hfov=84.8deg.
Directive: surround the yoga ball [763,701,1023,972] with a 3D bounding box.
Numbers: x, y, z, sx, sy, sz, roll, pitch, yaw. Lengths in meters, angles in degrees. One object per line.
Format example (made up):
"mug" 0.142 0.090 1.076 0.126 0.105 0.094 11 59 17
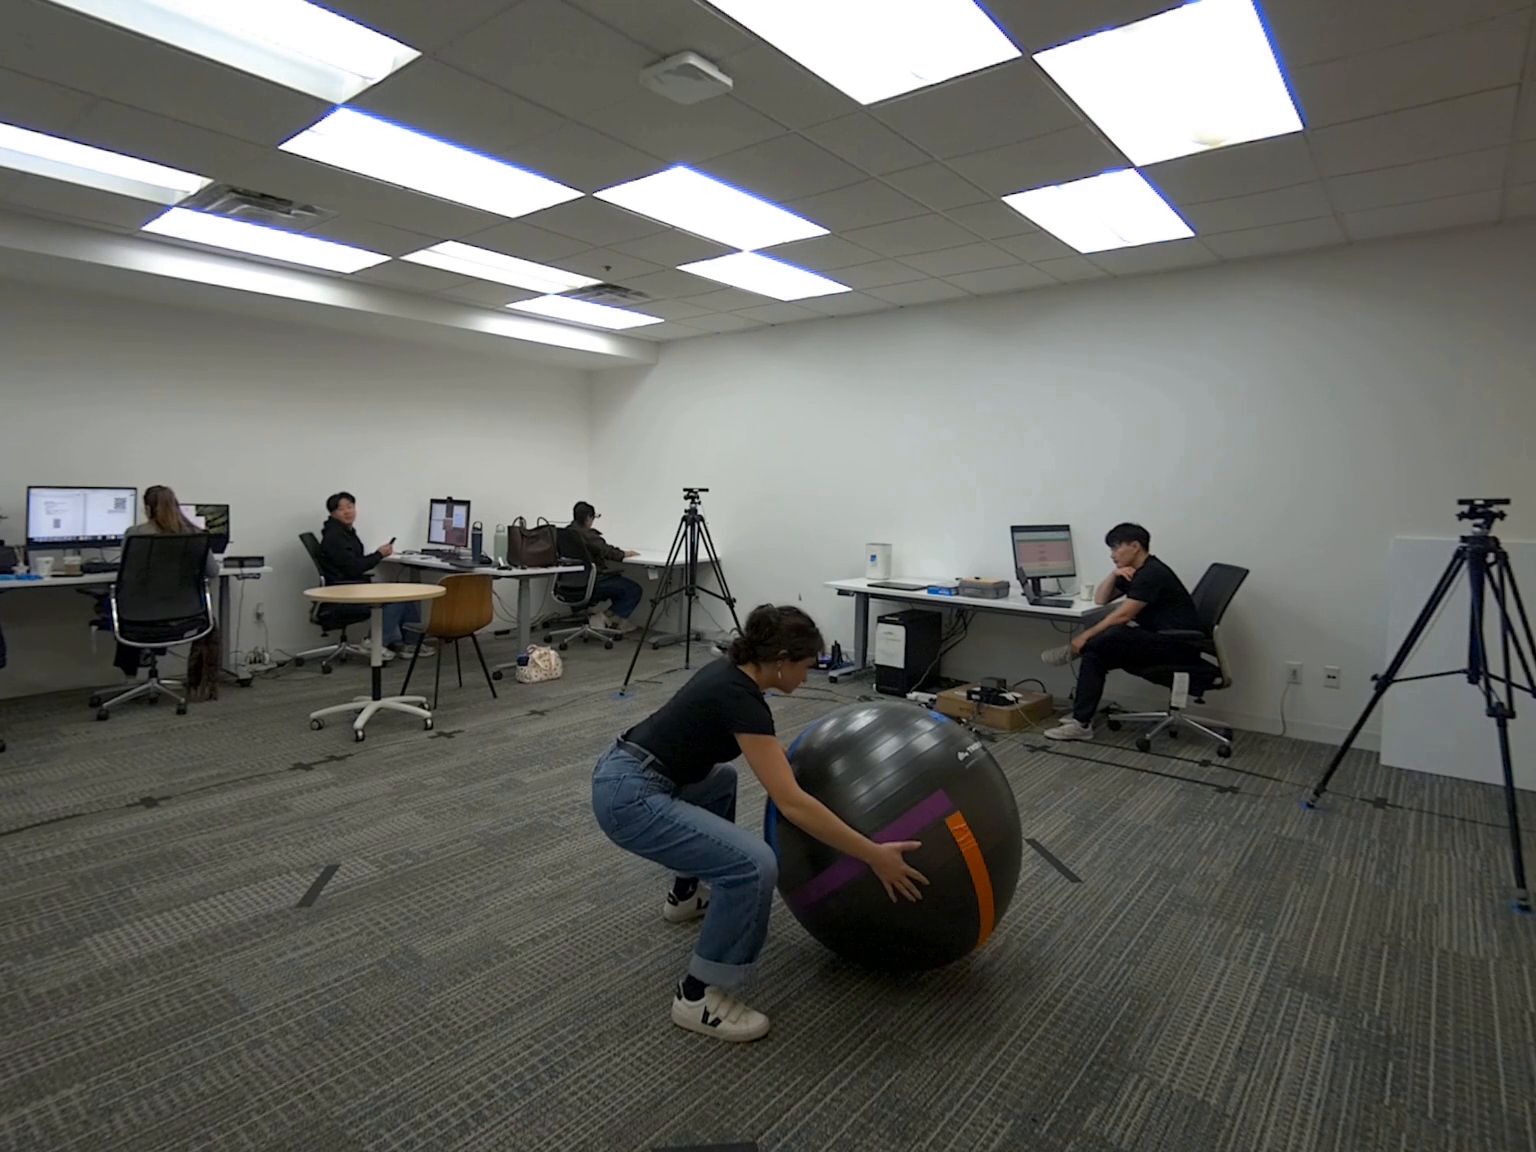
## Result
"yoga ball" 0.364 0.766 2.540 0.757 0.756 0.762 1 4 -2
